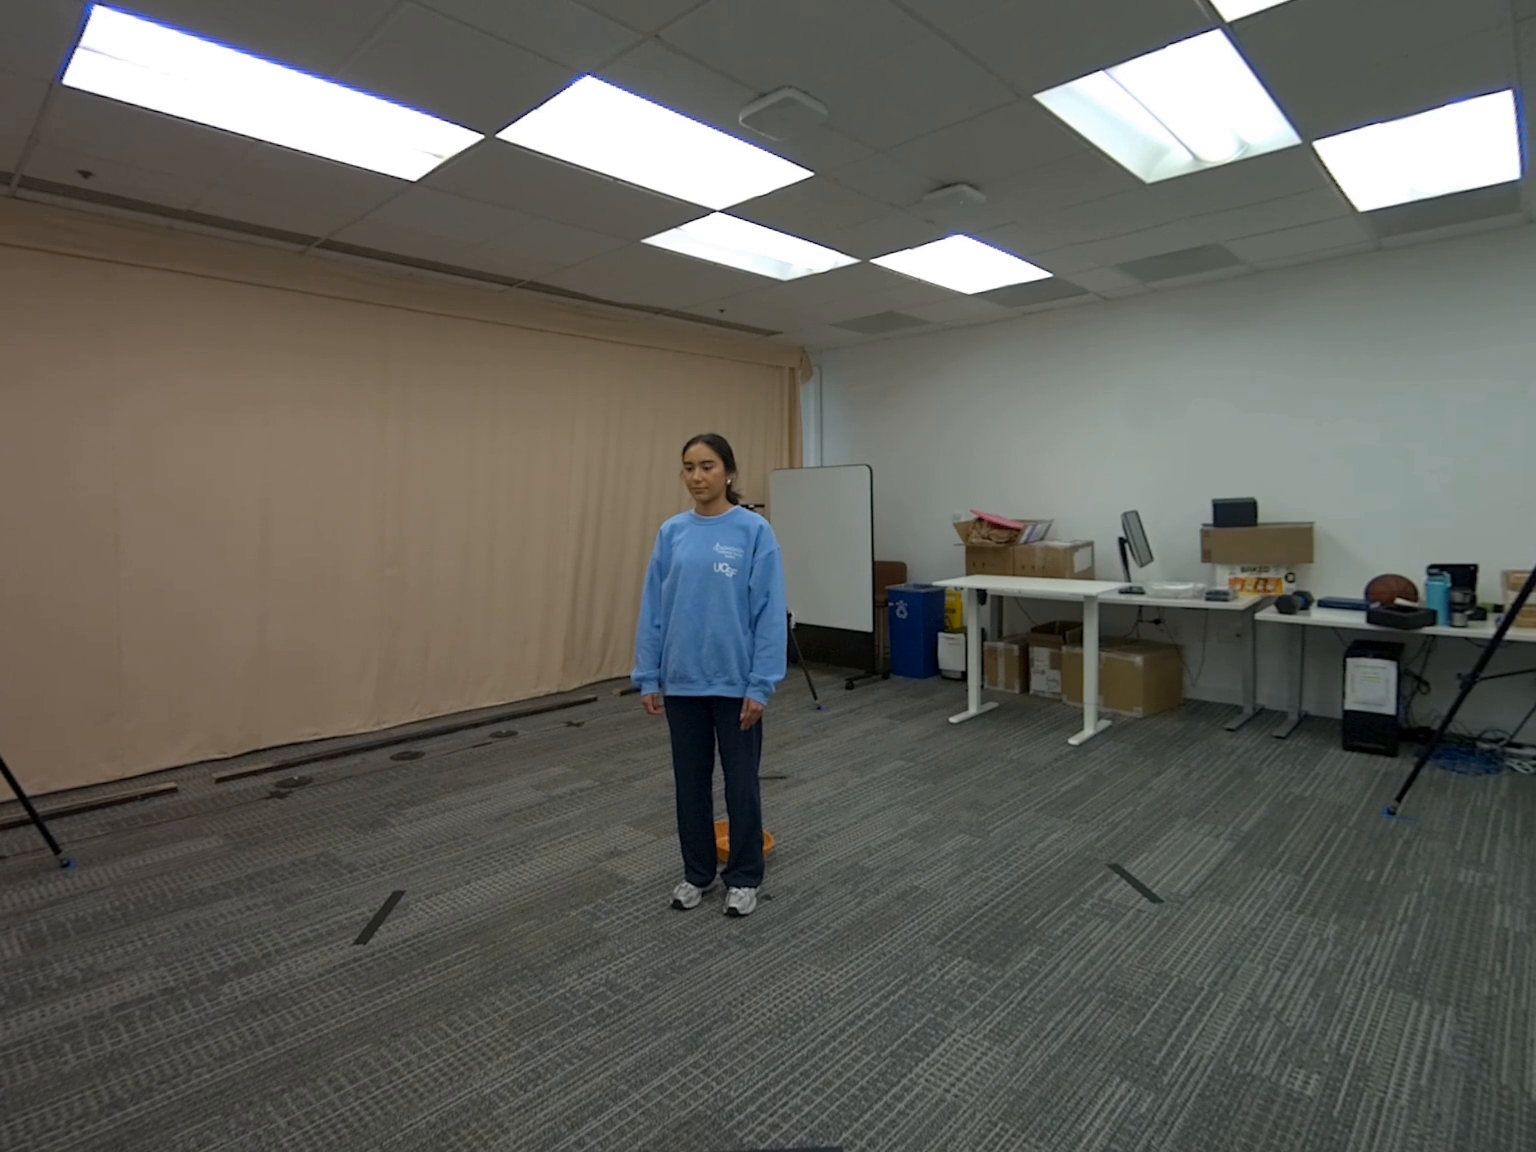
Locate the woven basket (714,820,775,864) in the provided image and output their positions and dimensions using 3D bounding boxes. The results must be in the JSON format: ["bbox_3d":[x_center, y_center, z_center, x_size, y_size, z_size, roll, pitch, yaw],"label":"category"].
[{"bbox_3d":[-0.125,1.071,3.367,0.246,0.073,0.360,-3,5,-28],"label":"woven basket"}]
